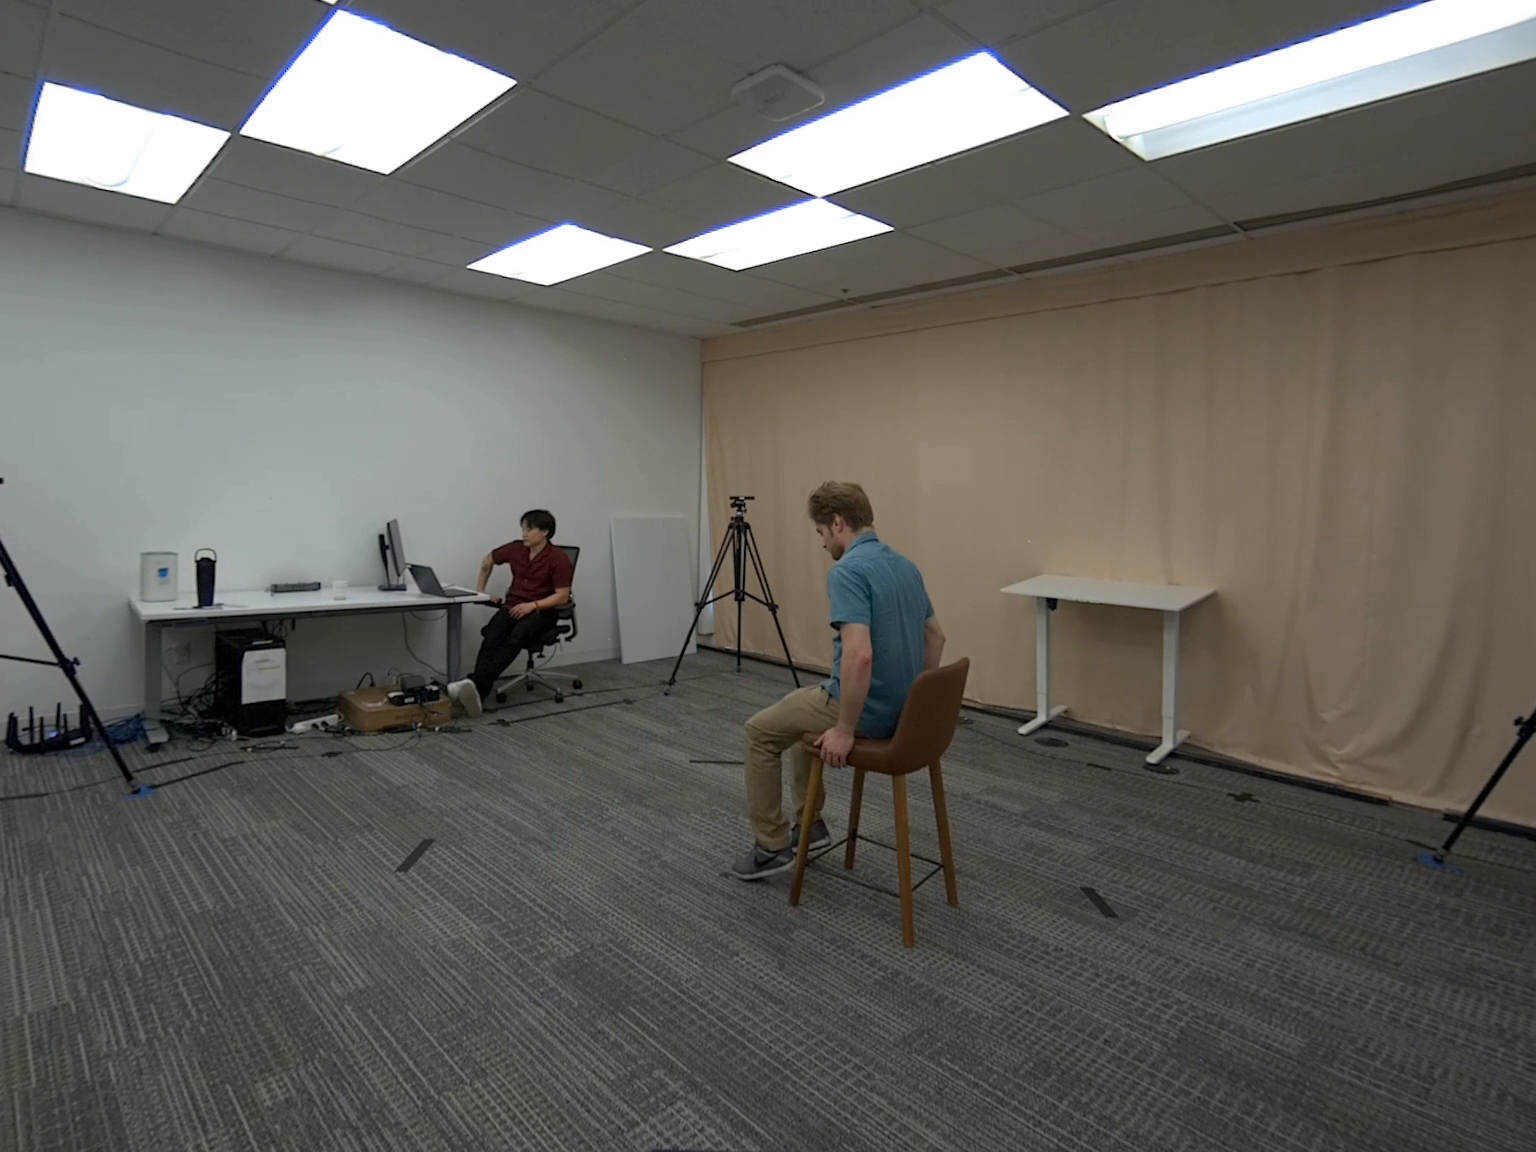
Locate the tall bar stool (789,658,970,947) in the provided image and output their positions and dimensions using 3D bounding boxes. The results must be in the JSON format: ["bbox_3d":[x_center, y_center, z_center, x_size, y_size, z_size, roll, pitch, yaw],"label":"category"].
[{"bbox_3d":[0.380,0.705,2.870,0.479,0.886,0.447,7,7,36],"label":"tall bar stool"}]
